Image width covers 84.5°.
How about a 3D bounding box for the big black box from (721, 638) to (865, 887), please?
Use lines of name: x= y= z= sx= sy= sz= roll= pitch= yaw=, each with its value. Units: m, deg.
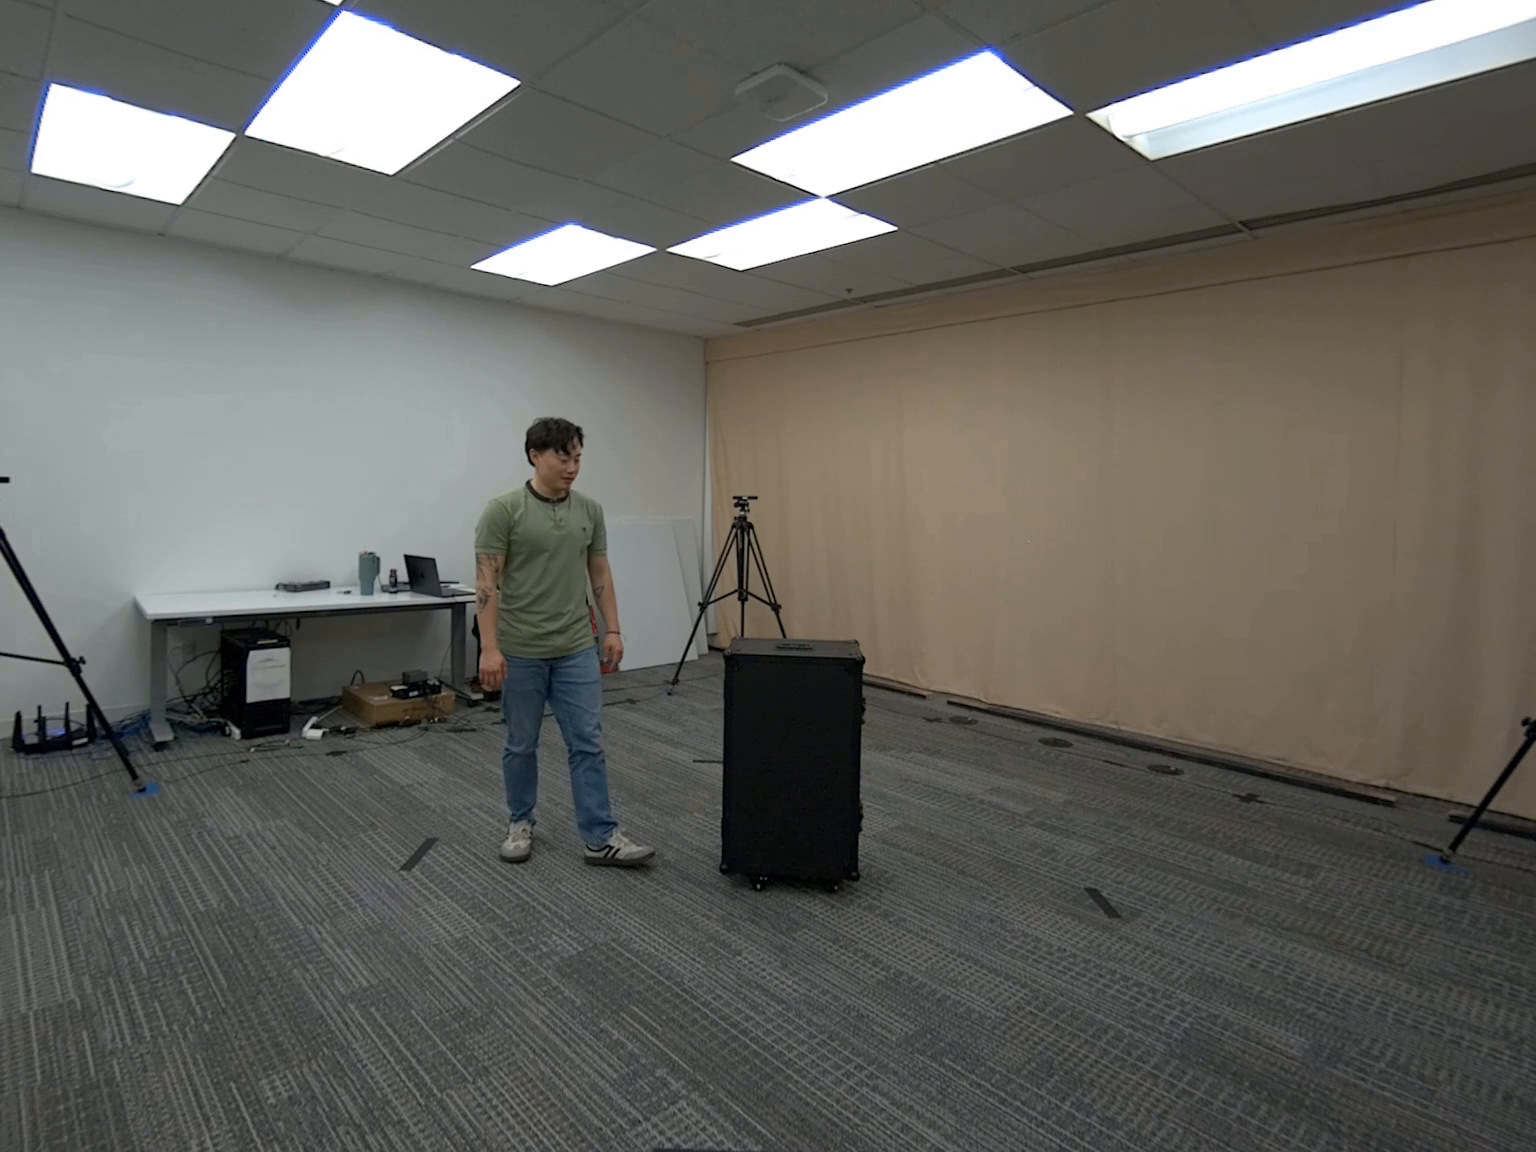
big black box: x=0.077 y=0.682 z=3.104 sx=0.524 sy=0.860 sz=0.395 roll=1 pitch=3 yaw=5
